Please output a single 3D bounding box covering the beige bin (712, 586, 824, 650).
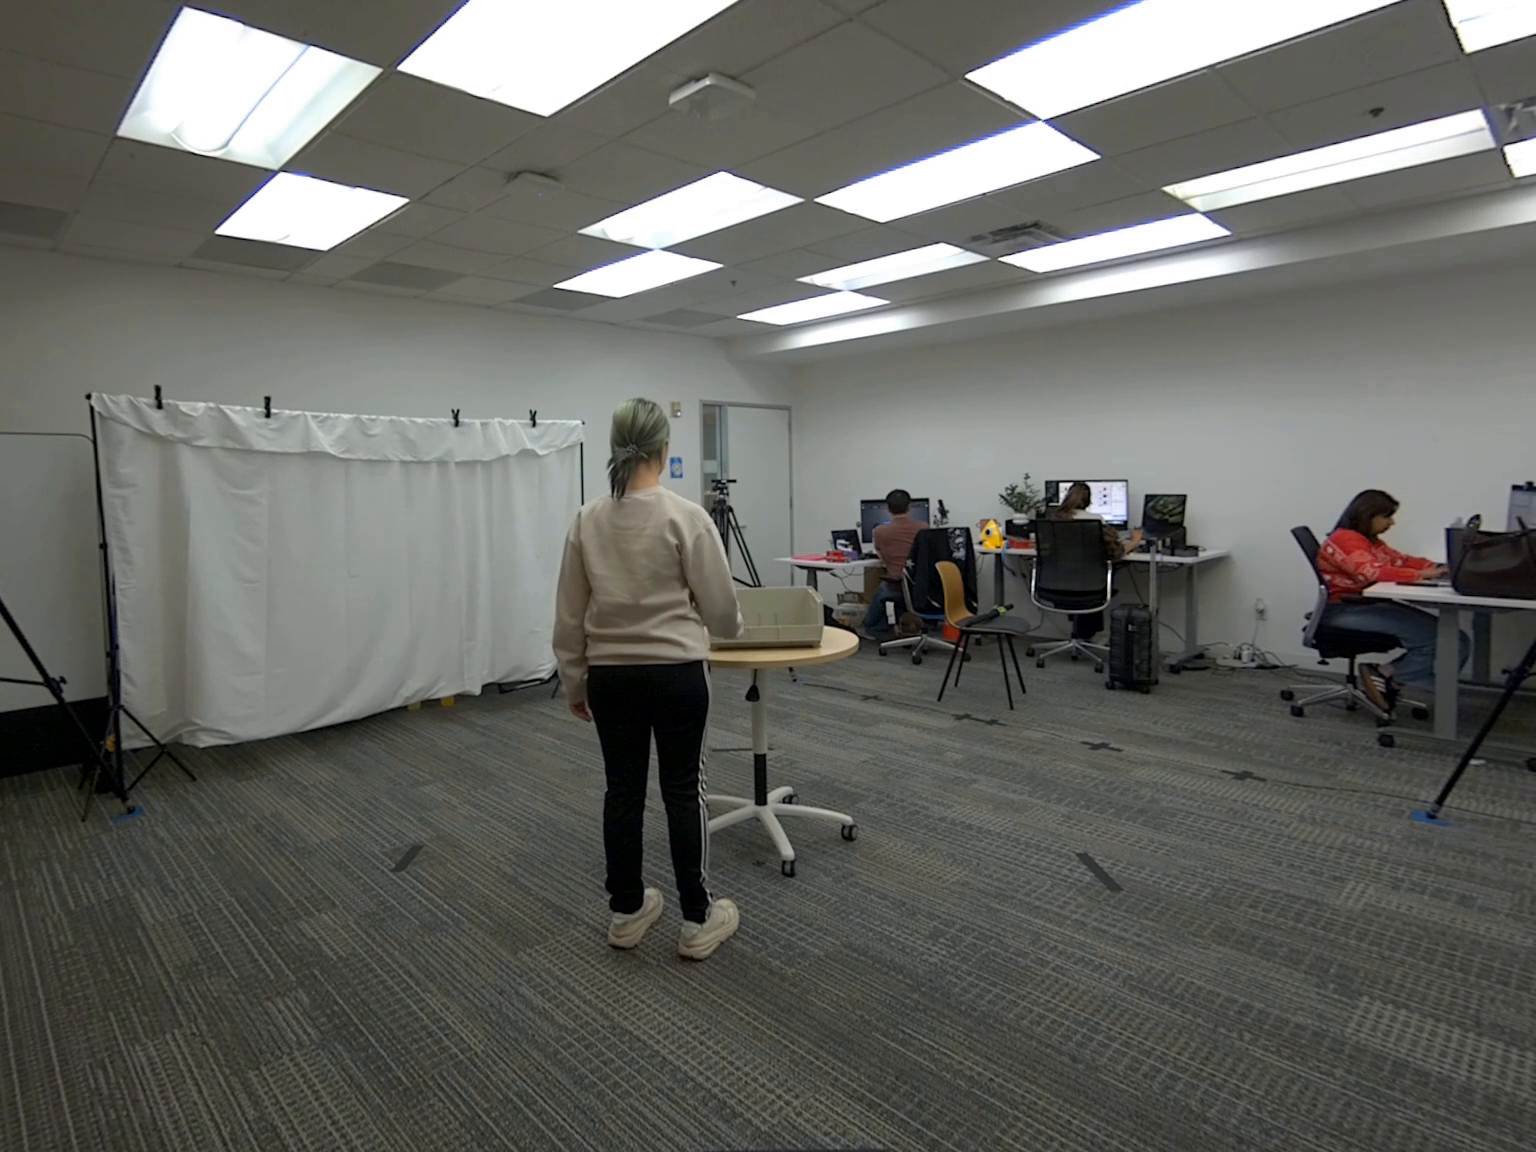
[{"bbox_3d":[-0.021,0.163,3.214,0.422,0.188,0.379,-2,5,-2],"label":"beige bin"}]
